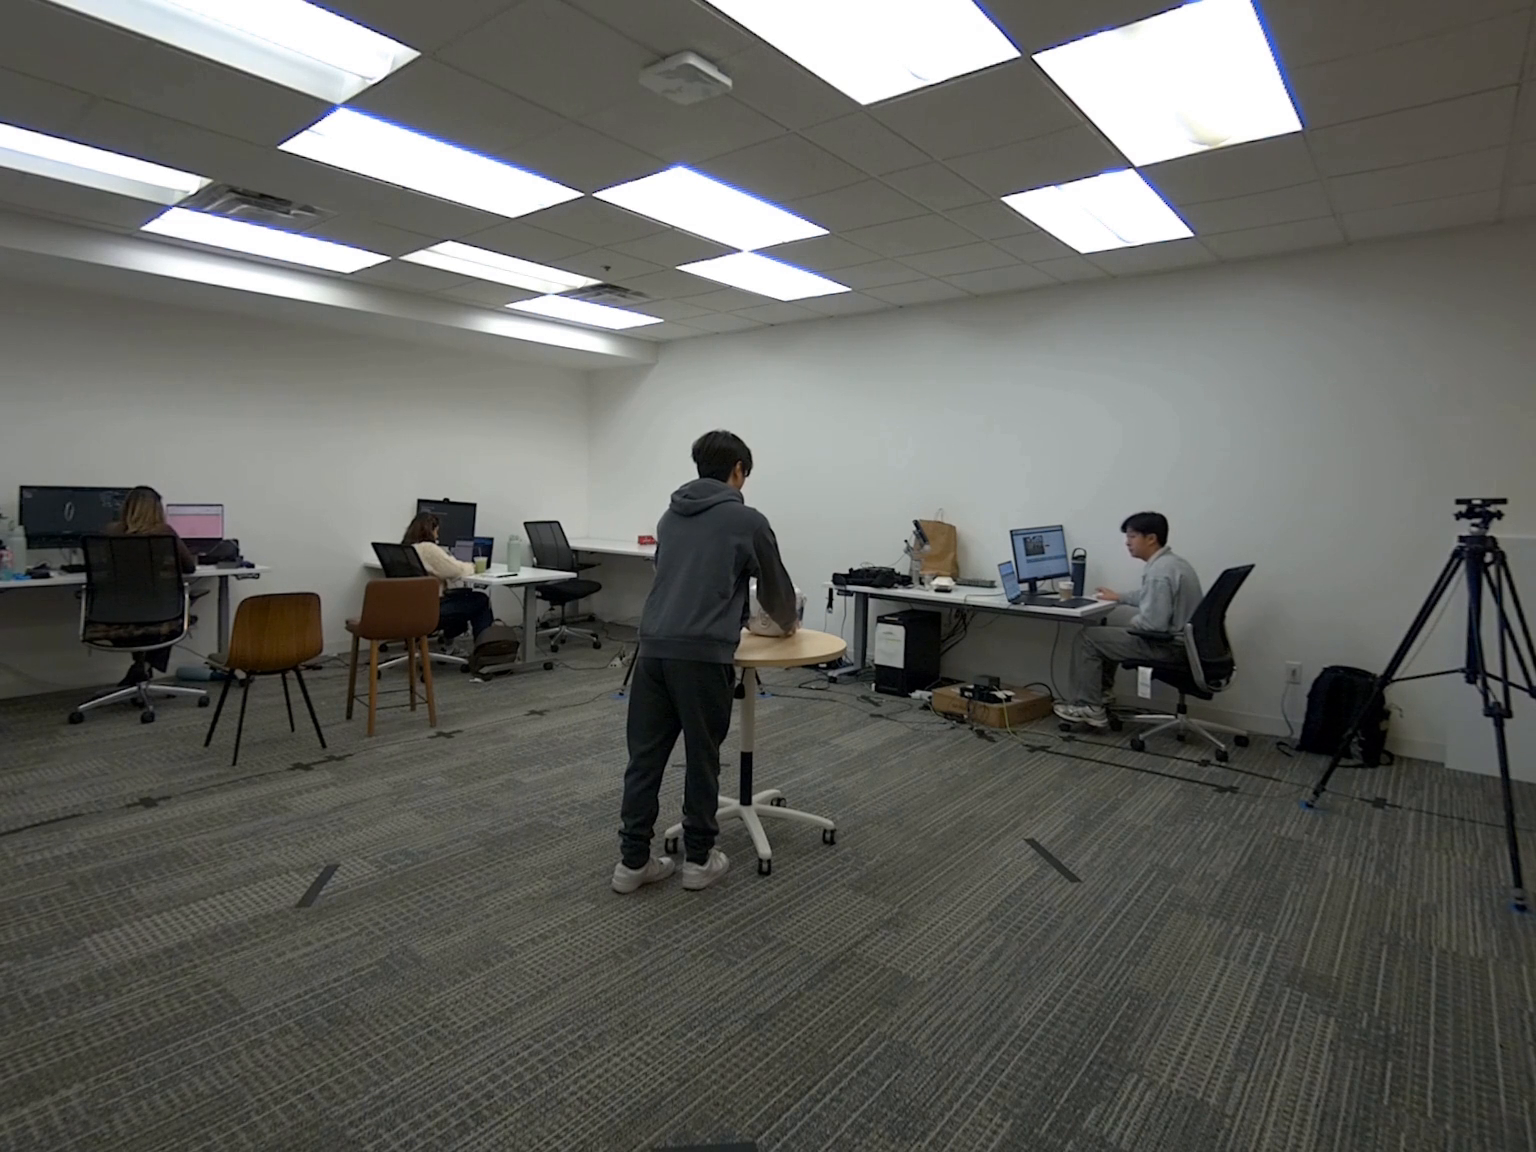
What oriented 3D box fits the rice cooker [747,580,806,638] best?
[{"bbox_3d":[0.015,0.120,3.511,0.225,0.232,0.214,3,4,19],"label":"rice cooker"}]
